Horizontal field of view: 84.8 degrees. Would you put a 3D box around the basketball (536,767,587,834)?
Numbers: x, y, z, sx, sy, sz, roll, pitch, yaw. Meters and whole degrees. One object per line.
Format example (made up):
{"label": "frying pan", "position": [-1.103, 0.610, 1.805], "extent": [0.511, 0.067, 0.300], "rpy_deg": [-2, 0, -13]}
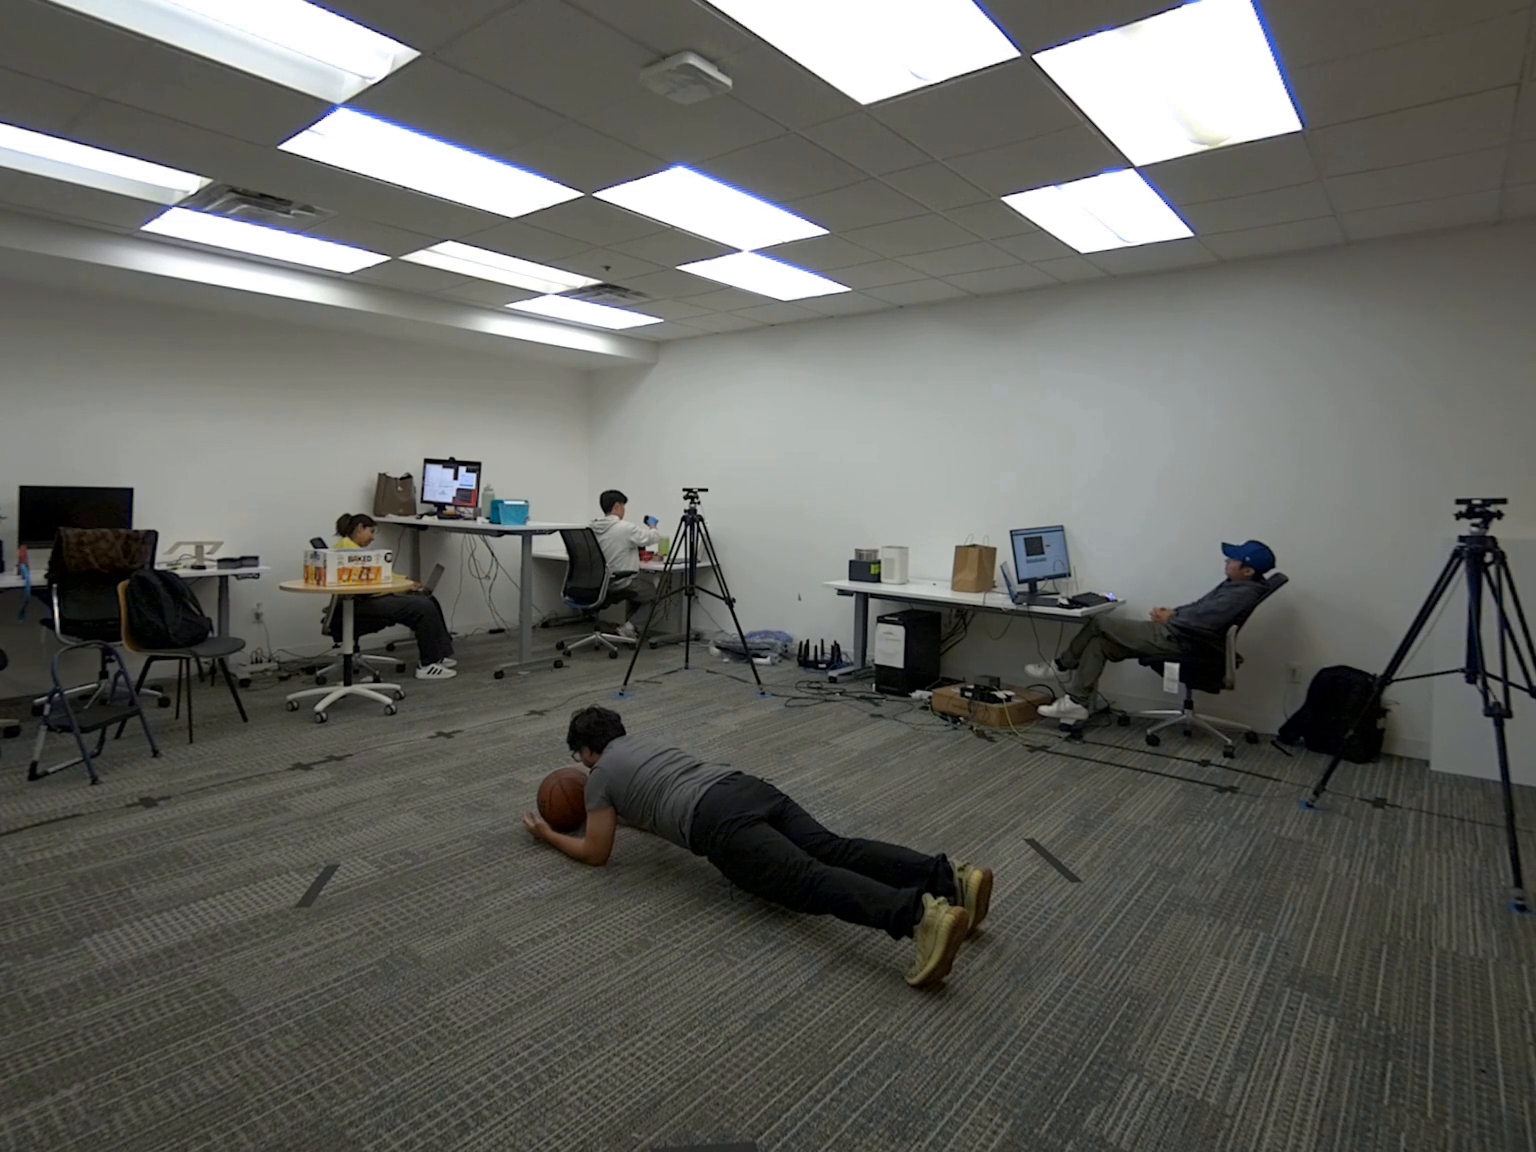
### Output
{"label": "basketball", "position": [-0.836, 0.903, 3.469], "extent": [0.235, 0.235, 0.237], "rpy_deg": [1, 4, -2]}
